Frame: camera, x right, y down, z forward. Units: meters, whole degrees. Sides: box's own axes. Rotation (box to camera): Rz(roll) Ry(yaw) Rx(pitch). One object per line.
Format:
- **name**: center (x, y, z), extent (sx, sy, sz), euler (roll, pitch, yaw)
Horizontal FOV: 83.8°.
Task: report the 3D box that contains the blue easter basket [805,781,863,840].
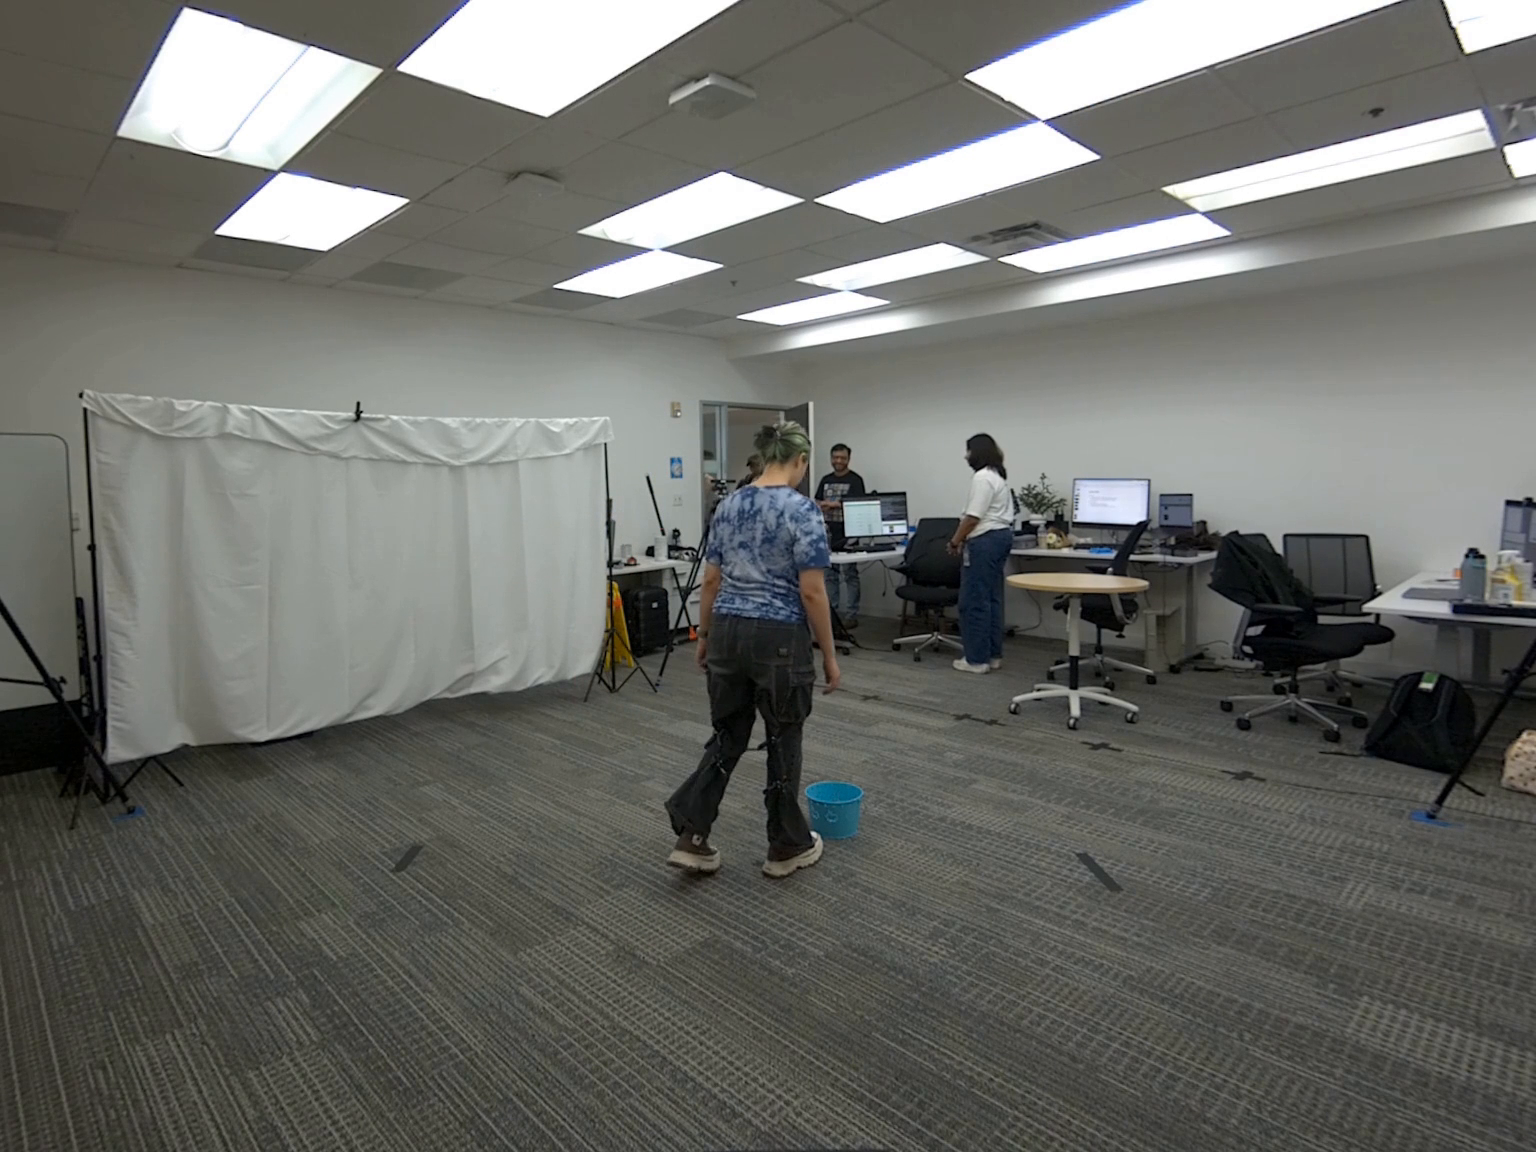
- **blue easter basket**: center (0.270, 0.930, 3.397), extent (0.243, 0.155, 0.245), euler (-1, 5, -2)
